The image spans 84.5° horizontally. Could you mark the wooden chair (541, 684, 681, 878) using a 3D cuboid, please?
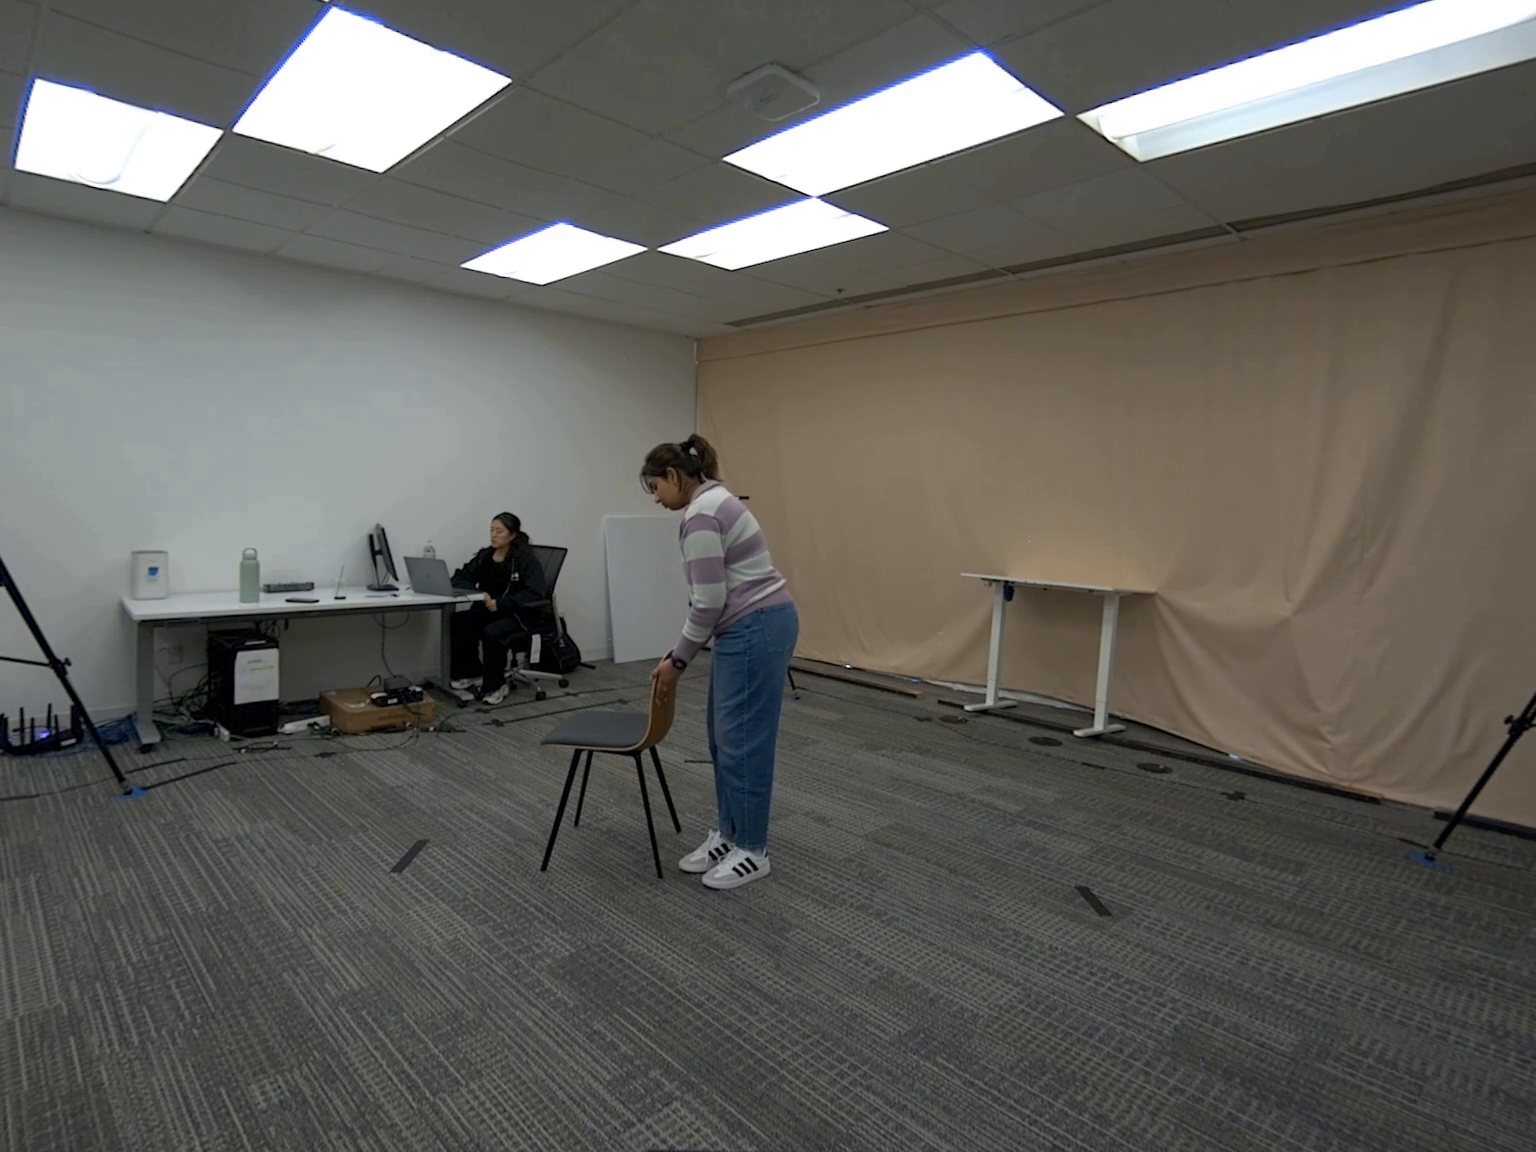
[{"bbox_3d":[-0.598,0.646,3.261,0.525,0.875,0.478,6,5,4],"label":"wooden chair"}]
